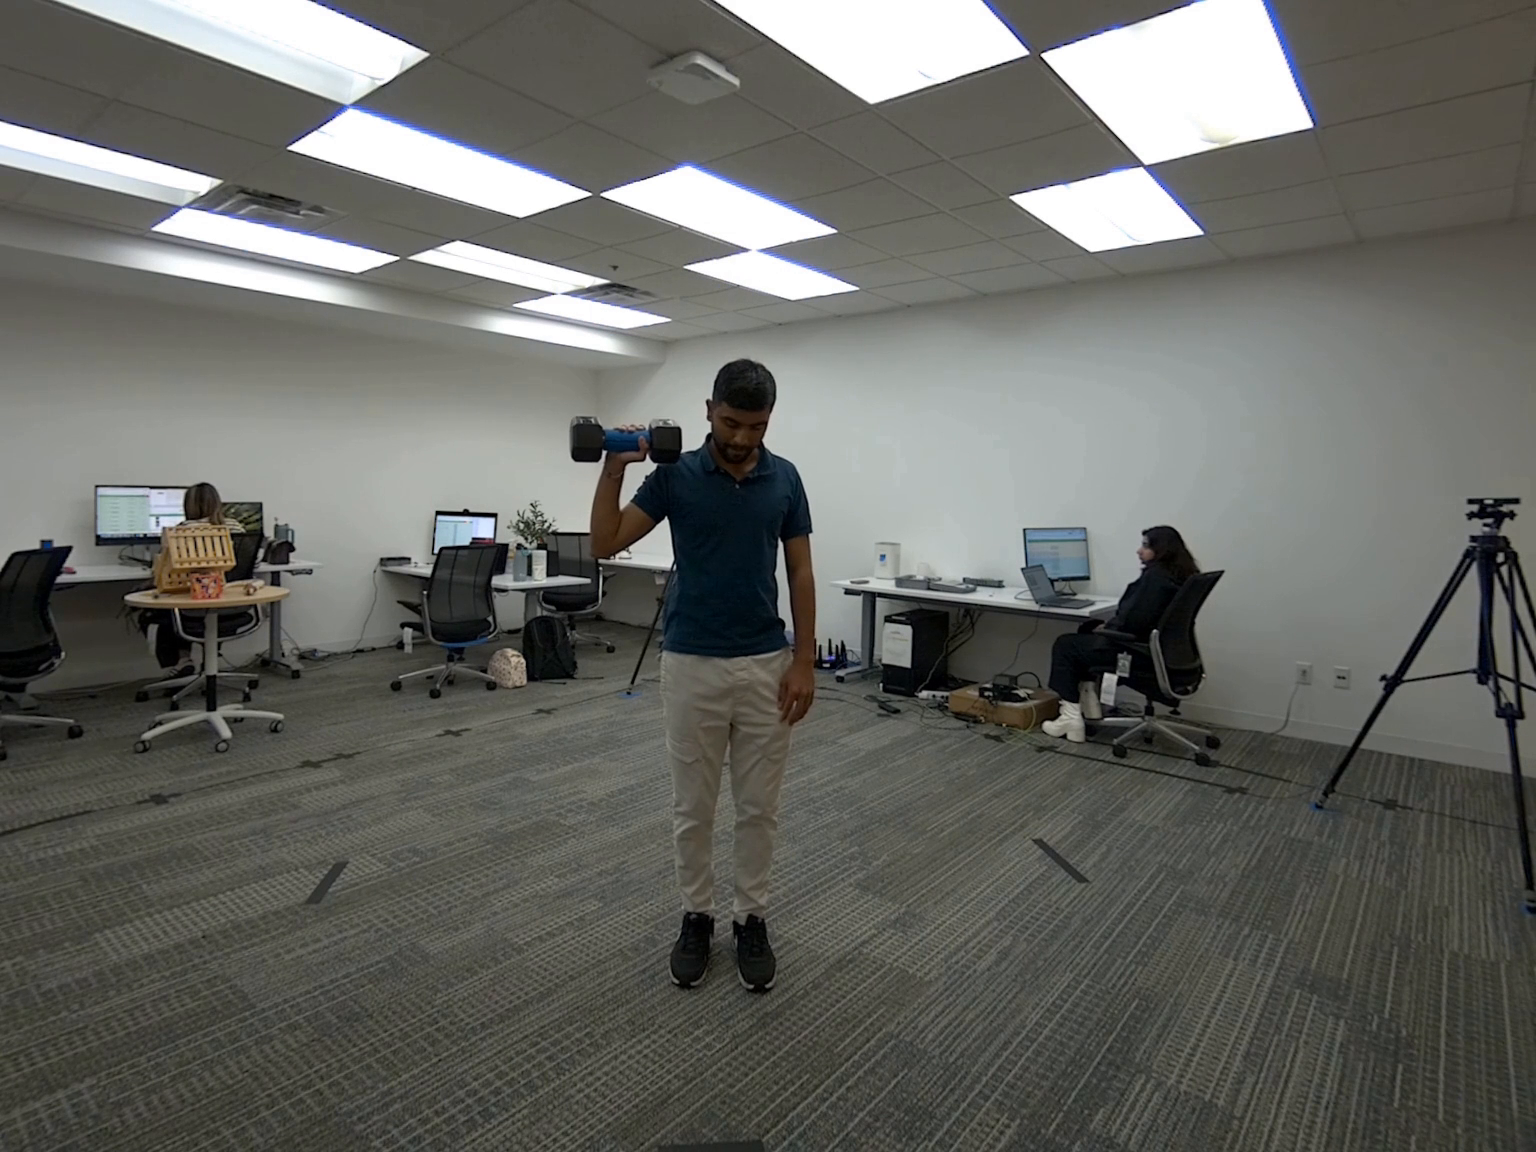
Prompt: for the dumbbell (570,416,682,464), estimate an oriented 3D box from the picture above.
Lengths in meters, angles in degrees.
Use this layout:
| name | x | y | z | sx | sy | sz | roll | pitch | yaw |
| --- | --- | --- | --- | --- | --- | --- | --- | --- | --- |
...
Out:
| name | x | y | z | sx | sy | sz | roll | pitch | yaw |
| --- | --- | --- | --- | --- | --- | --- | --- | --- | --- |
| dumbbell | -0.382 | -0.371 | 2.262 | 0.292 | 0.106 | 0.126 | 0 | 26 | -5 |
